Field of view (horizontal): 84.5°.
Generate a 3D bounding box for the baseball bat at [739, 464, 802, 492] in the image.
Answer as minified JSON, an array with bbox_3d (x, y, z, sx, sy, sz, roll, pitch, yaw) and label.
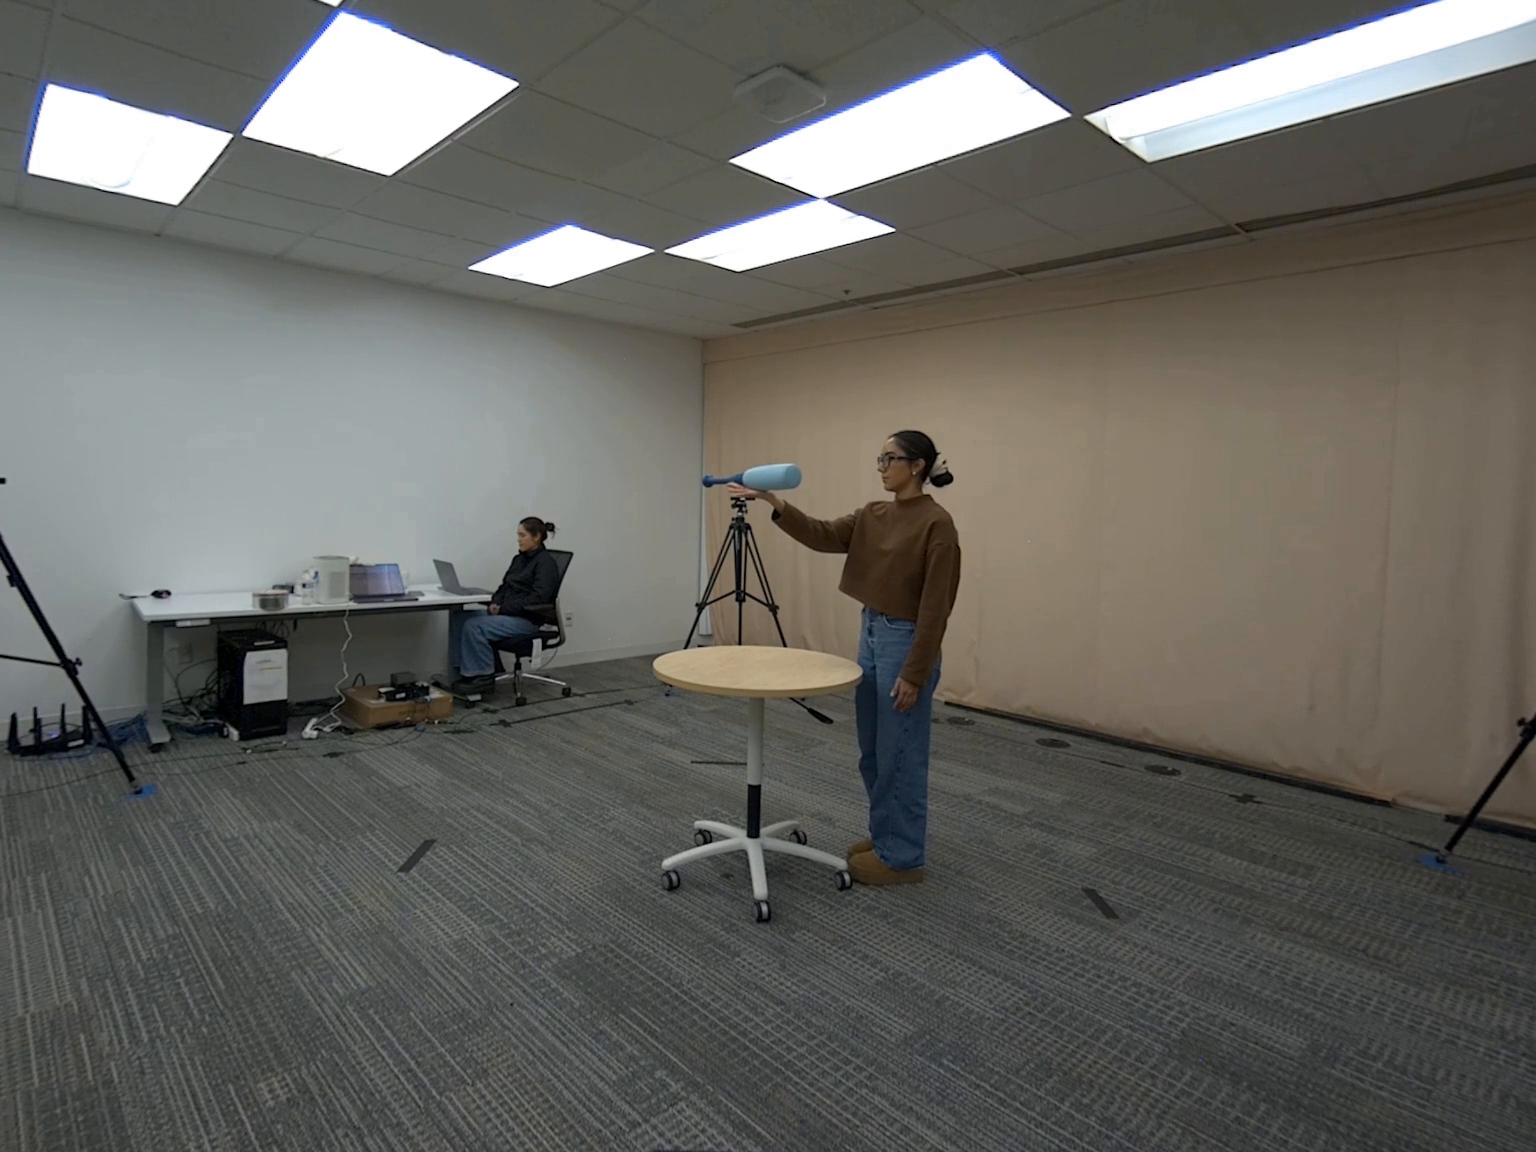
[{"bbox_3d":[-0.080,-0.350,3.063,0.087,0.089,0.556,-2,4,-36],"label":"baseball bat"}]
